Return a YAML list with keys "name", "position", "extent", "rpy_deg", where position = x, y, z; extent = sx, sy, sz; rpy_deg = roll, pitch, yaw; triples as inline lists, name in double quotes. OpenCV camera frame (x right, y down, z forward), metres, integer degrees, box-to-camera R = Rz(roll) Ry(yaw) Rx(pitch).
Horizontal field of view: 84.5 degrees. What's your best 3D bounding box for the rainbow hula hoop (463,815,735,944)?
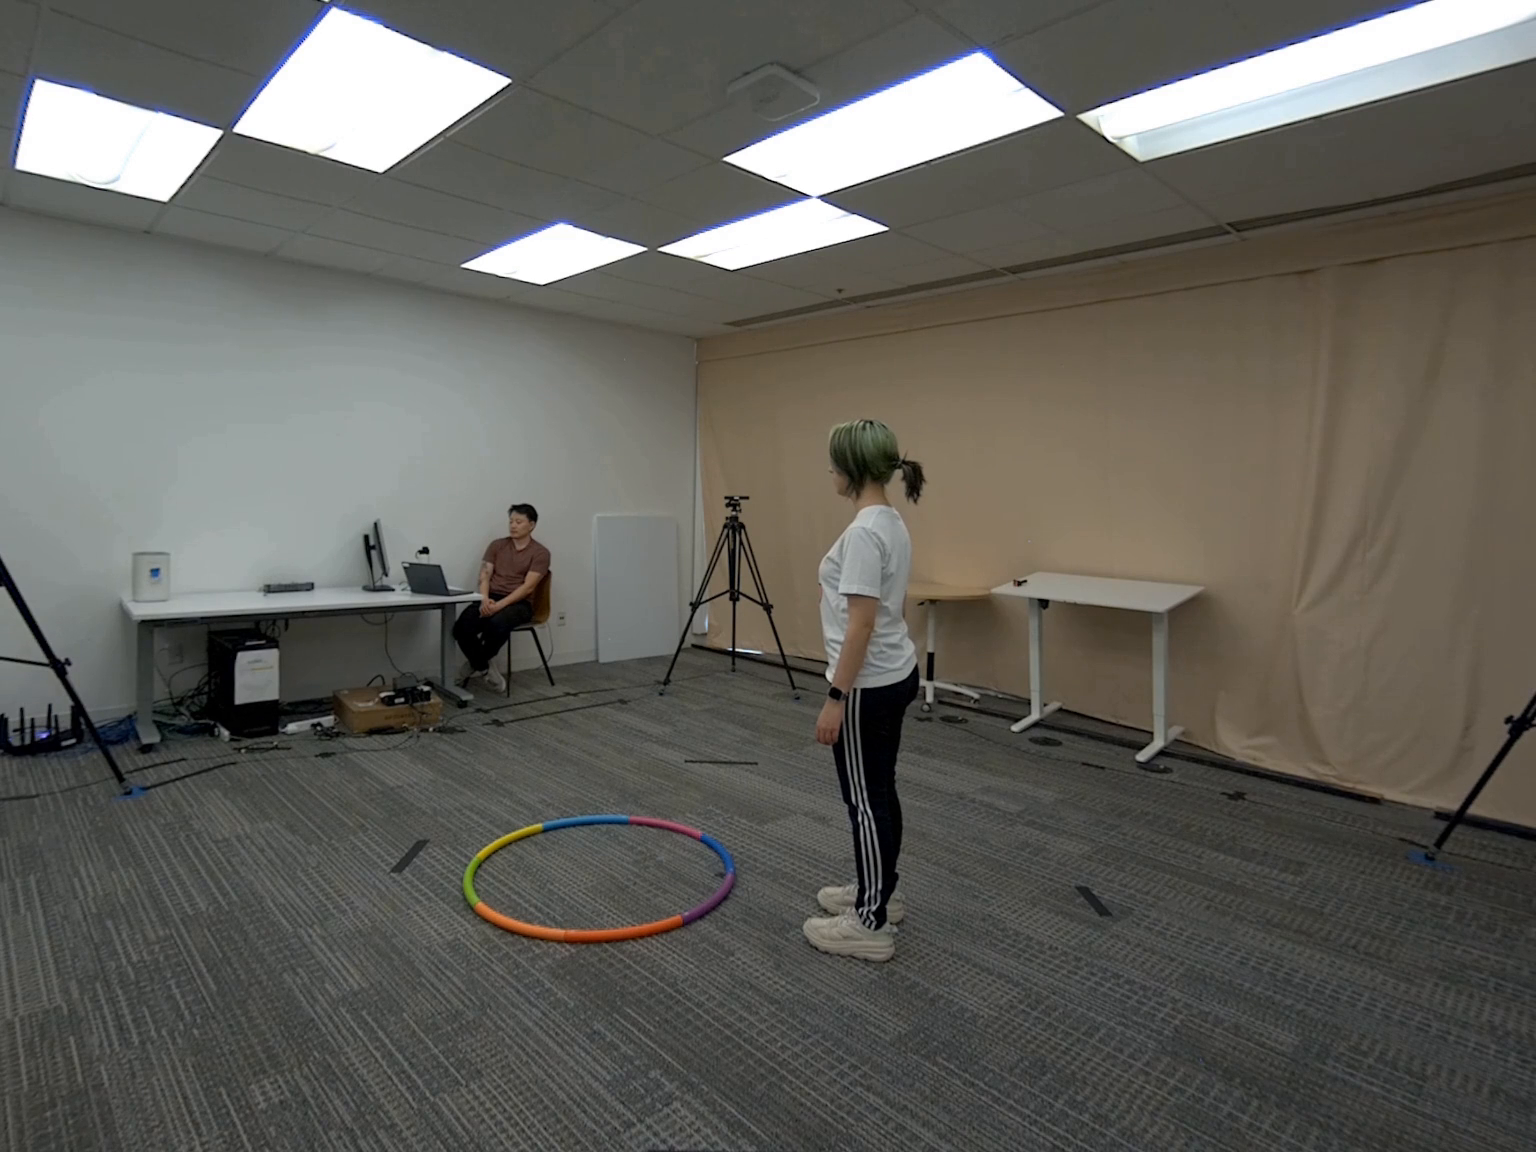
- name: "rainbow hula hoop"
  position: [-0.609, 1.065, 3.092]
  extent: [0.978, 0.035, 0.982]
  rpy_deg: [2, 5, -1]
